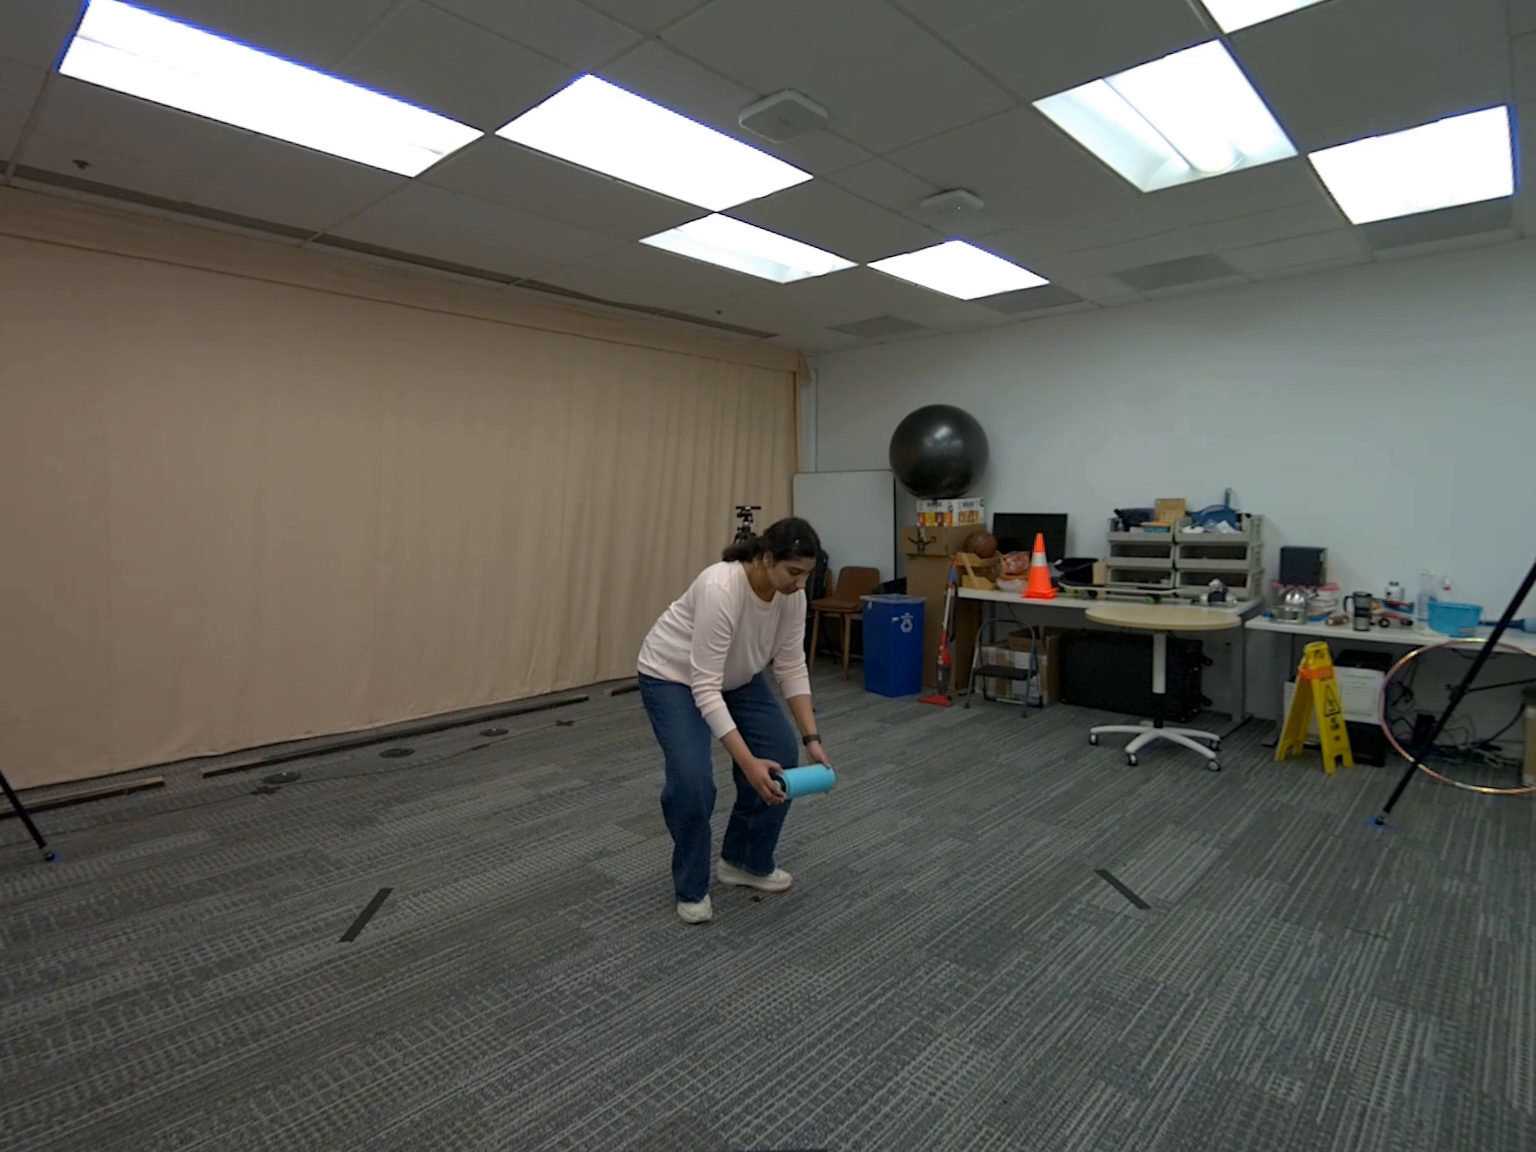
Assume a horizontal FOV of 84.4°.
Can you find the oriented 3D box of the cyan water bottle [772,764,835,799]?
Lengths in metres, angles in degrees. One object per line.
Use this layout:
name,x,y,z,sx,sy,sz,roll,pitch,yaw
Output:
cyan water bottle,0.085,0.658,2.687,0.095,0.092,0.274,3,0,42
